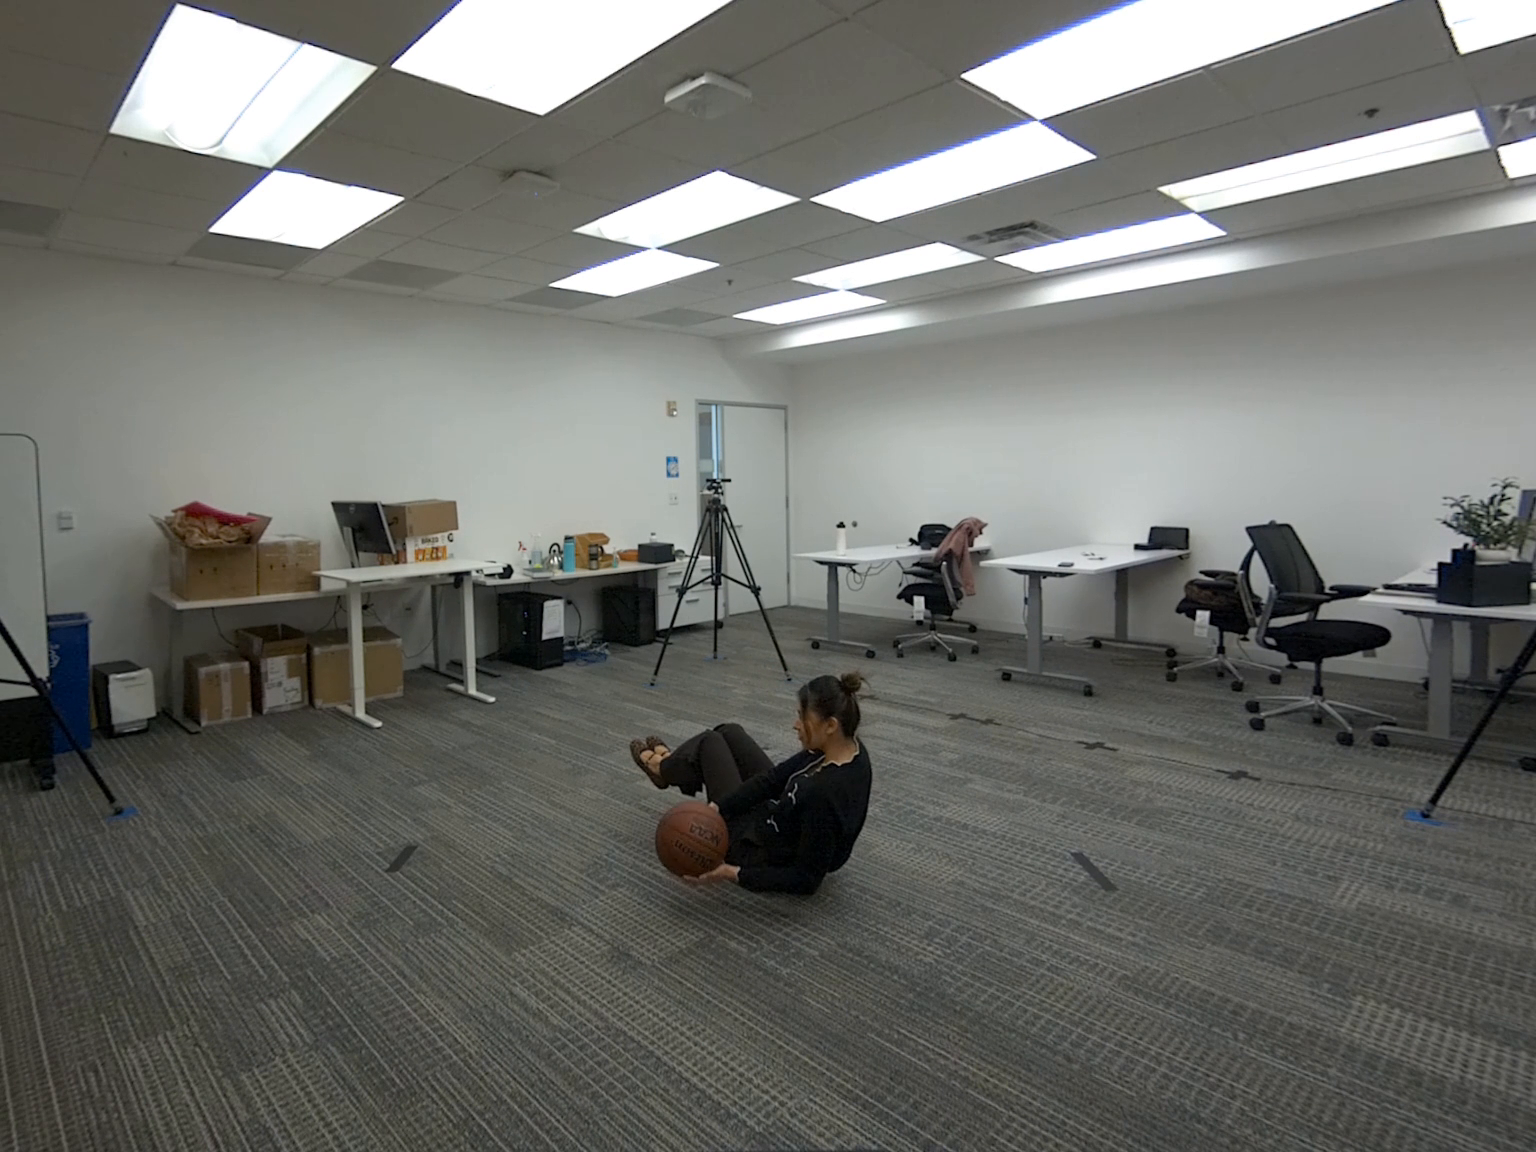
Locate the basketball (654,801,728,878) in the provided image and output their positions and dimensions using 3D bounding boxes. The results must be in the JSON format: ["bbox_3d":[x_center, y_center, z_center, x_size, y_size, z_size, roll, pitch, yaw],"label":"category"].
[{"bbox_3d":[-0.241,0.829,2.745,0.236,0.235,0.237,-1,5,-2],"label":"basketball"}]
